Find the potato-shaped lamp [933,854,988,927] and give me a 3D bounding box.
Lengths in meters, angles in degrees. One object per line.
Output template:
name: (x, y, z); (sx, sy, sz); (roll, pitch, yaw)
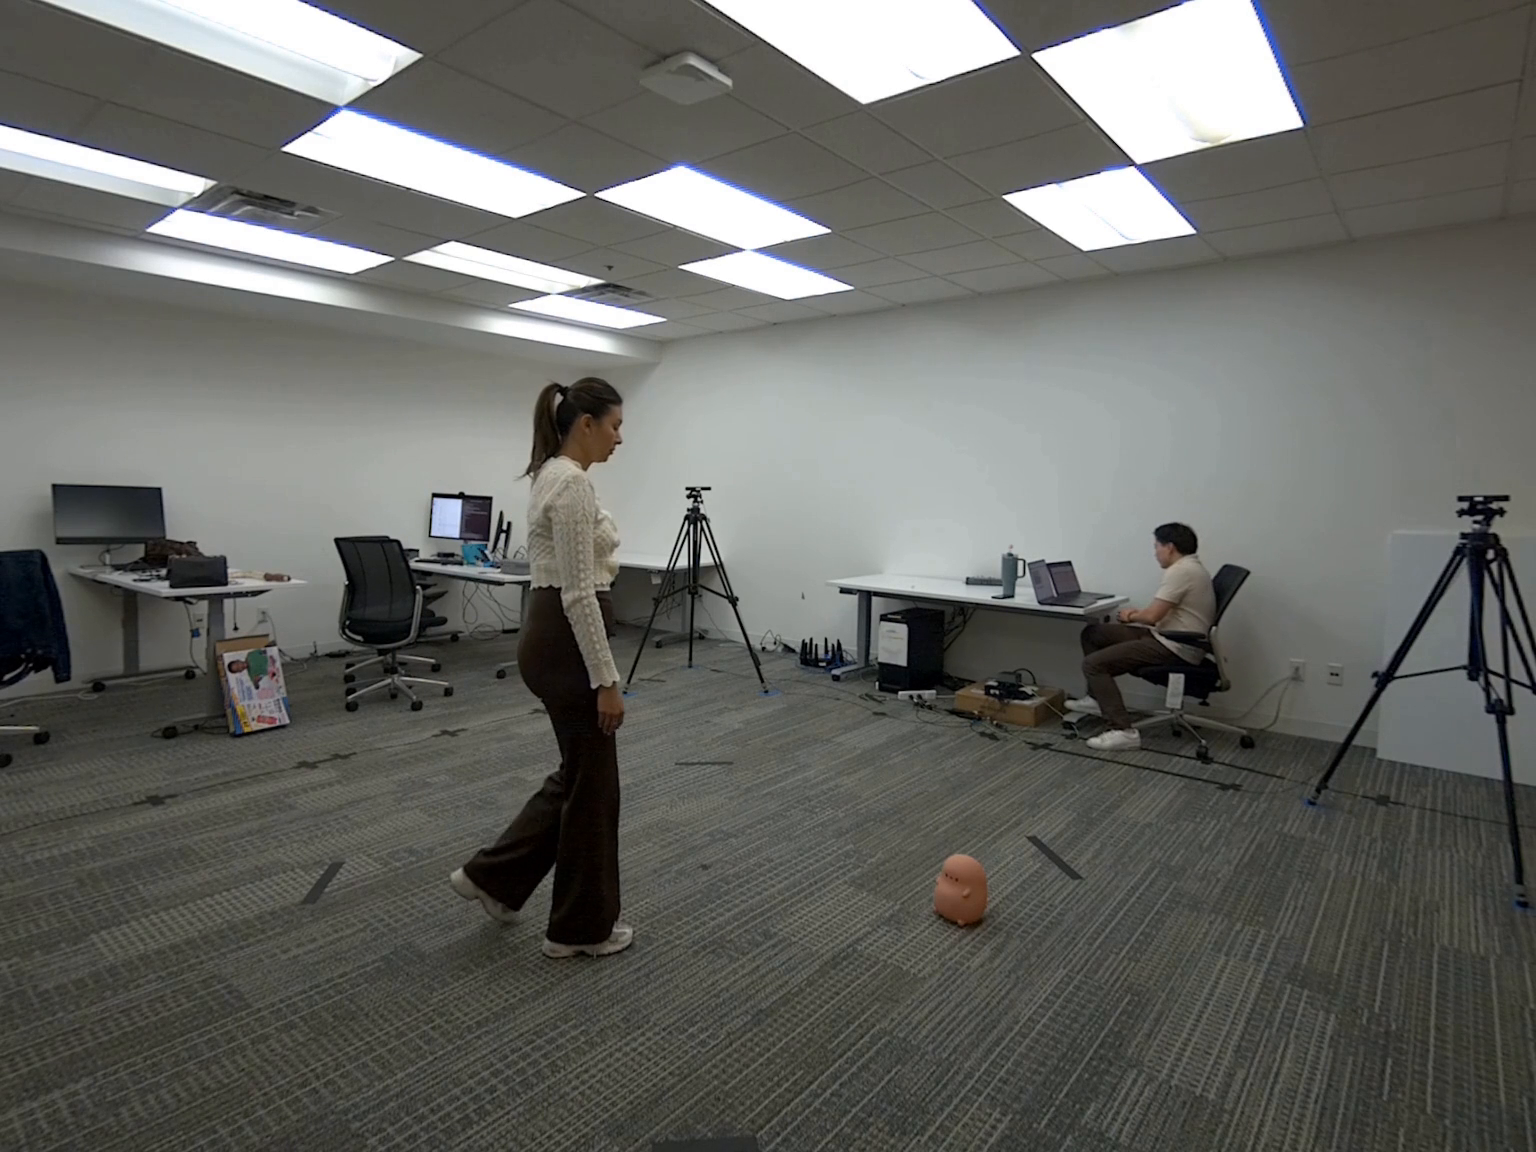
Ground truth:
potato-shaped lamp: (0.621, 1.010, 2.799); (0.166, 0.198, 0.170); (-1, 3, -38)
